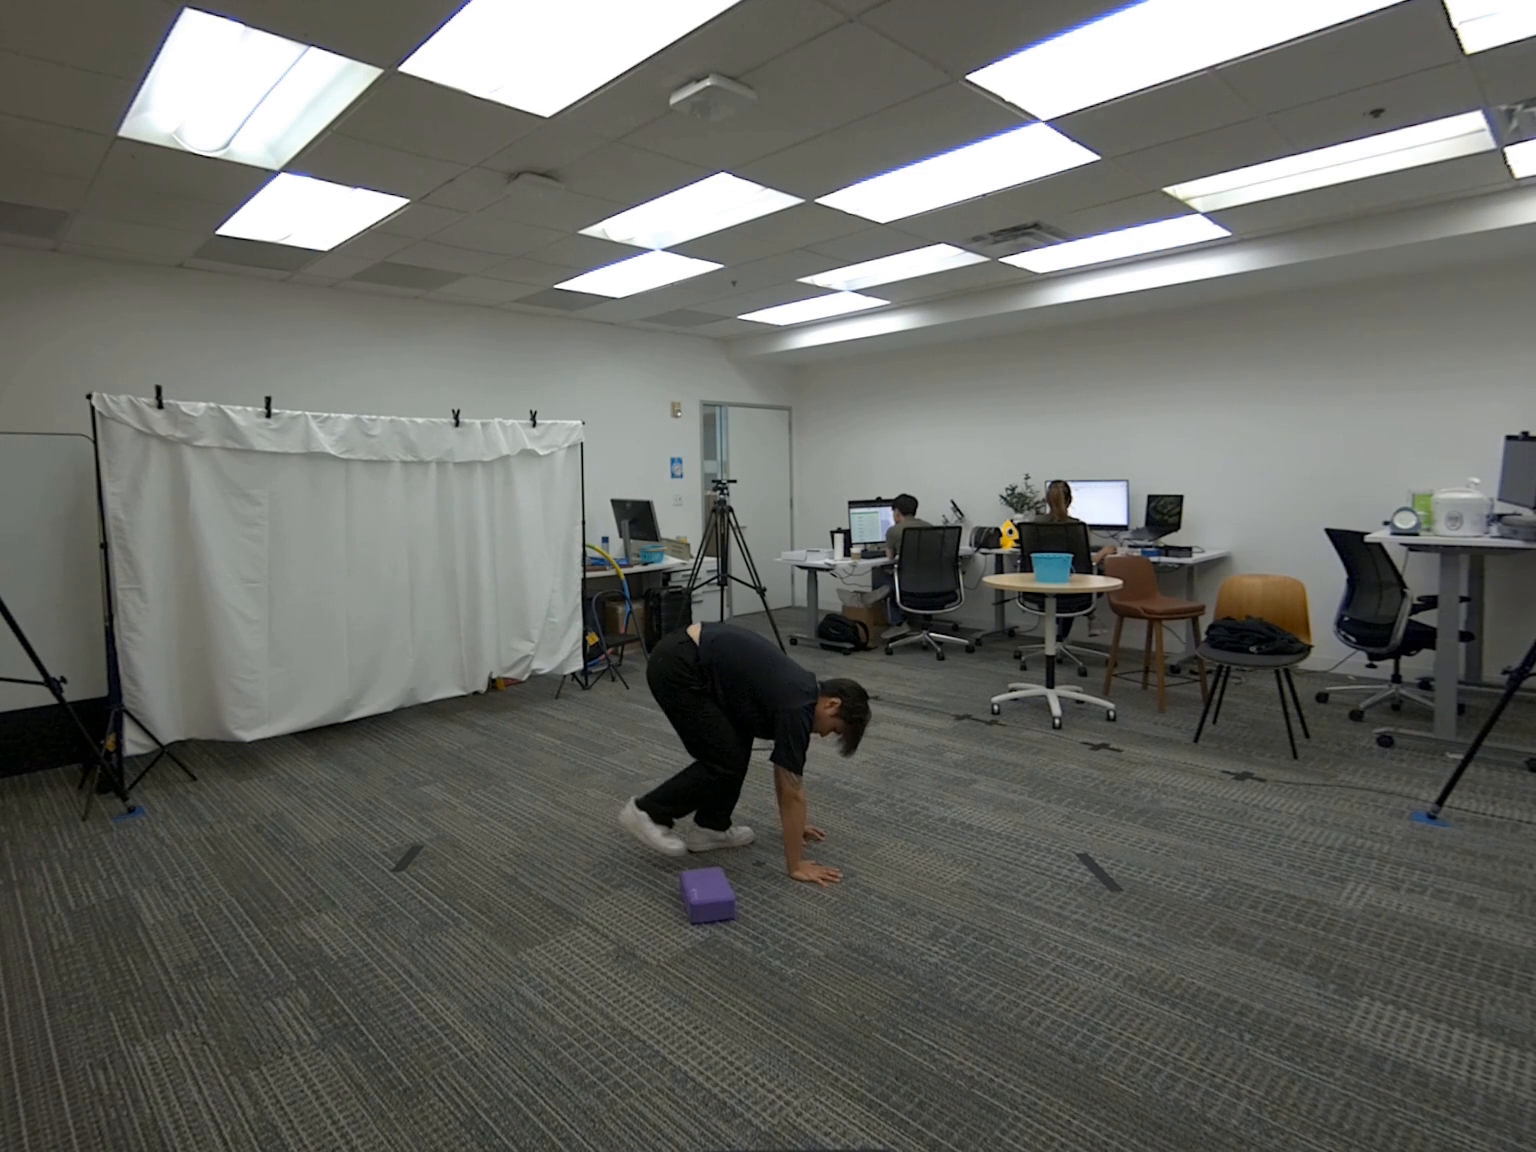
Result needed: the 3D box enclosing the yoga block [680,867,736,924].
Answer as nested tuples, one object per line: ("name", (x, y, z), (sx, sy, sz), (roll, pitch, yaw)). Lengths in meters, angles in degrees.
("yoga block", (-0.202, 1.051, 2.808), (0.147, 0.076, 0.233), (-2, 6, -13))
